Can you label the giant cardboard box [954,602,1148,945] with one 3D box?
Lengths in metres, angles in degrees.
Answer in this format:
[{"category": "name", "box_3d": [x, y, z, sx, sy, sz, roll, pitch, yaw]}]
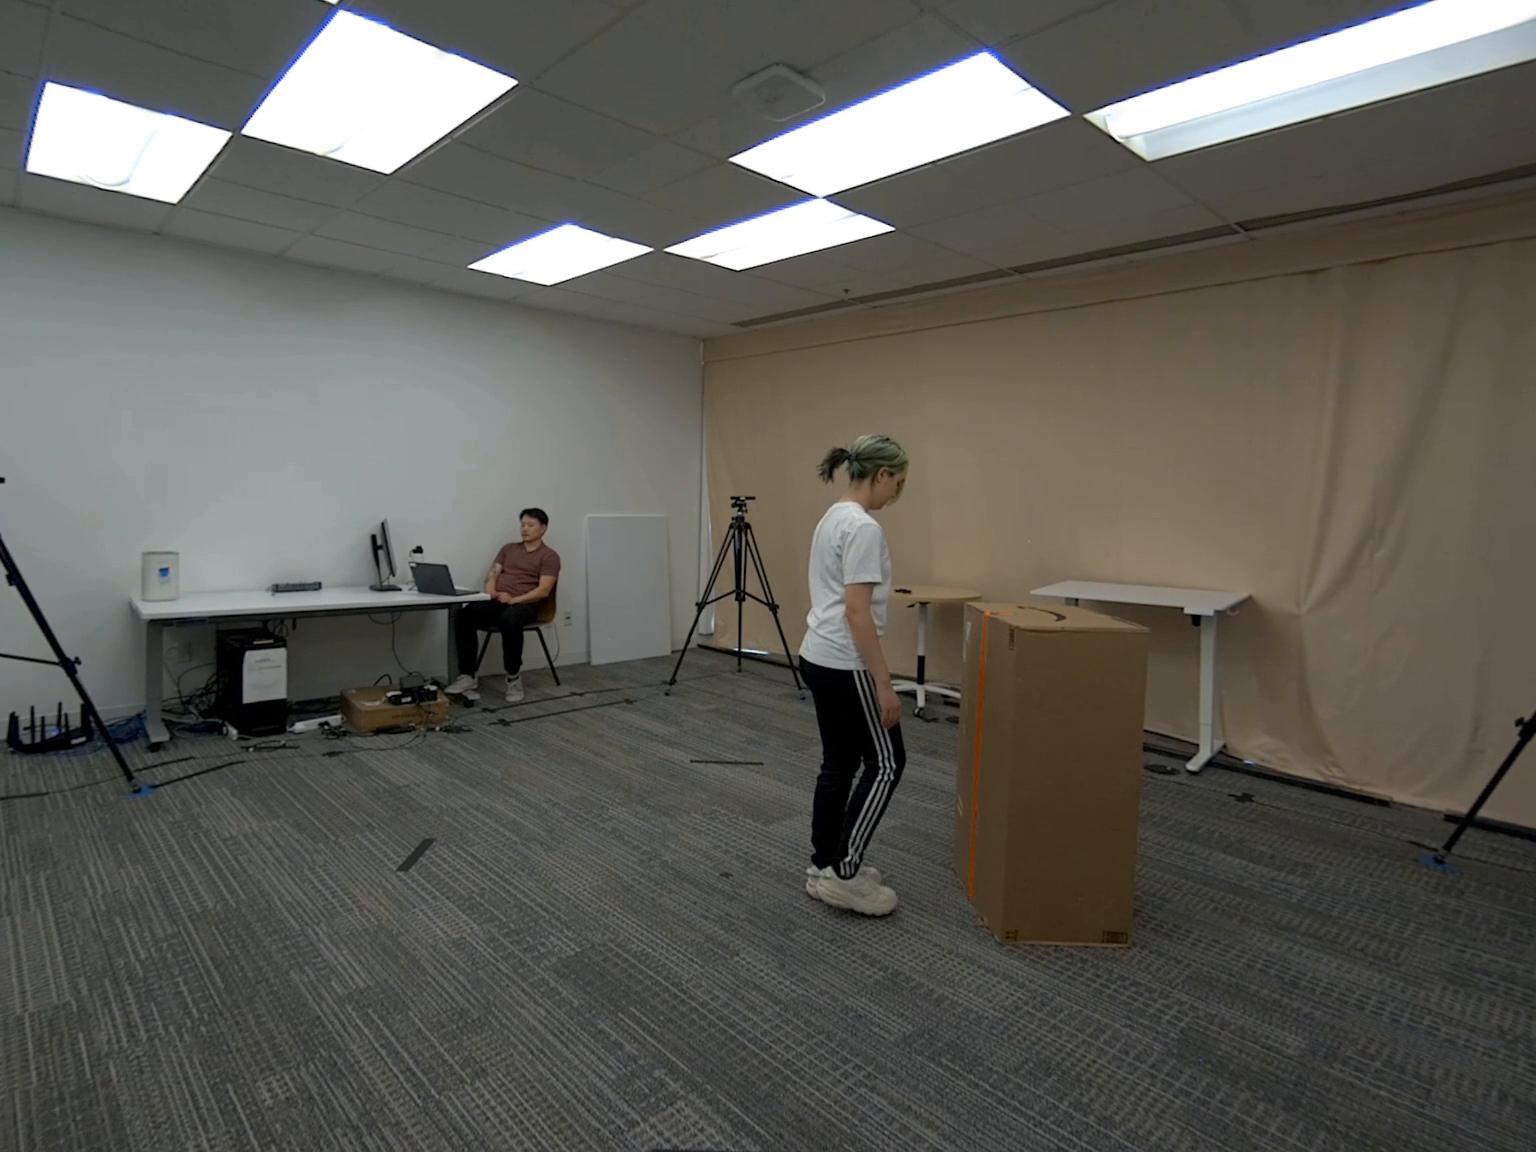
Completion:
[{"category": "giant cardboard box", "box_3d": [0.937, 0.642, 2.922, 0.446, 1.024, 0.586, 2, 4, -2]}]
